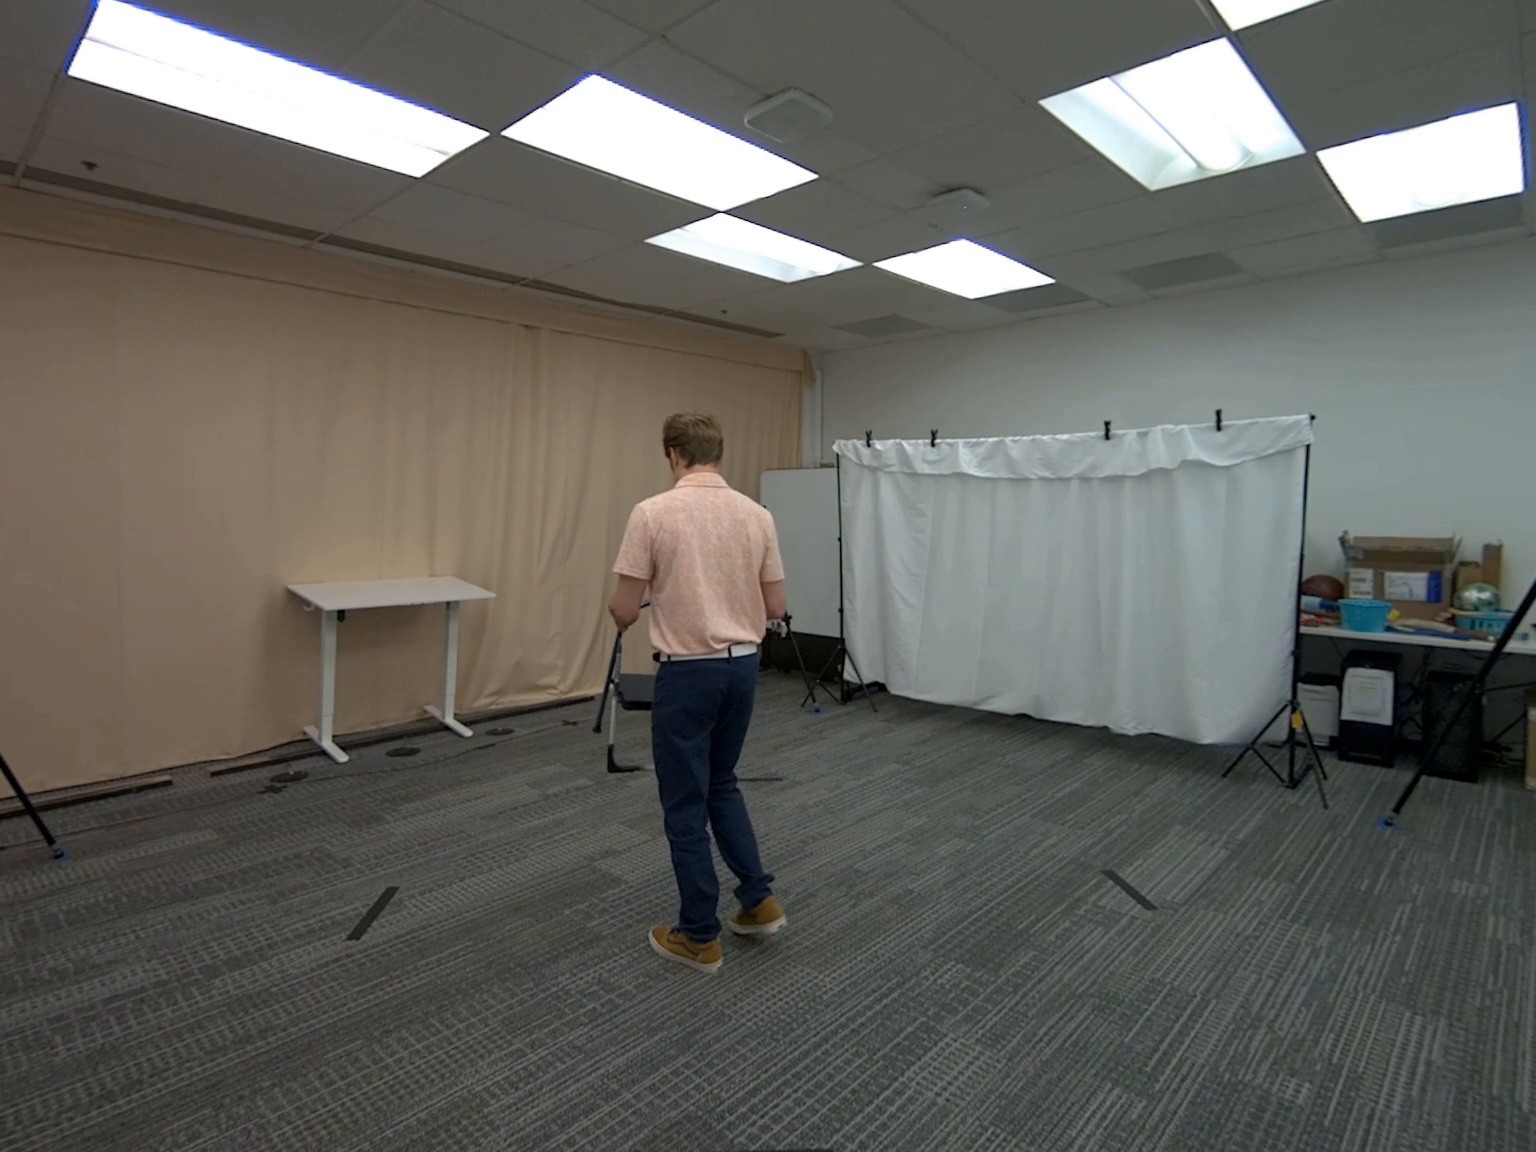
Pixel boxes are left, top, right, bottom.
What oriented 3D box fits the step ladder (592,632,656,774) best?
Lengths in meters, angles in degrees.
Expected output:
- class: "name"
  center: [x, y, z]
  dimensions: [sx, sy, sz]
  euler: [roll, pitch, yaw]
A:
- class: "step ladder"
  center: [-0.357, 0.351, 3.002]
  dimensions: [0.422, 0.602, 0.359]
  euler: [5, 14, -20]
